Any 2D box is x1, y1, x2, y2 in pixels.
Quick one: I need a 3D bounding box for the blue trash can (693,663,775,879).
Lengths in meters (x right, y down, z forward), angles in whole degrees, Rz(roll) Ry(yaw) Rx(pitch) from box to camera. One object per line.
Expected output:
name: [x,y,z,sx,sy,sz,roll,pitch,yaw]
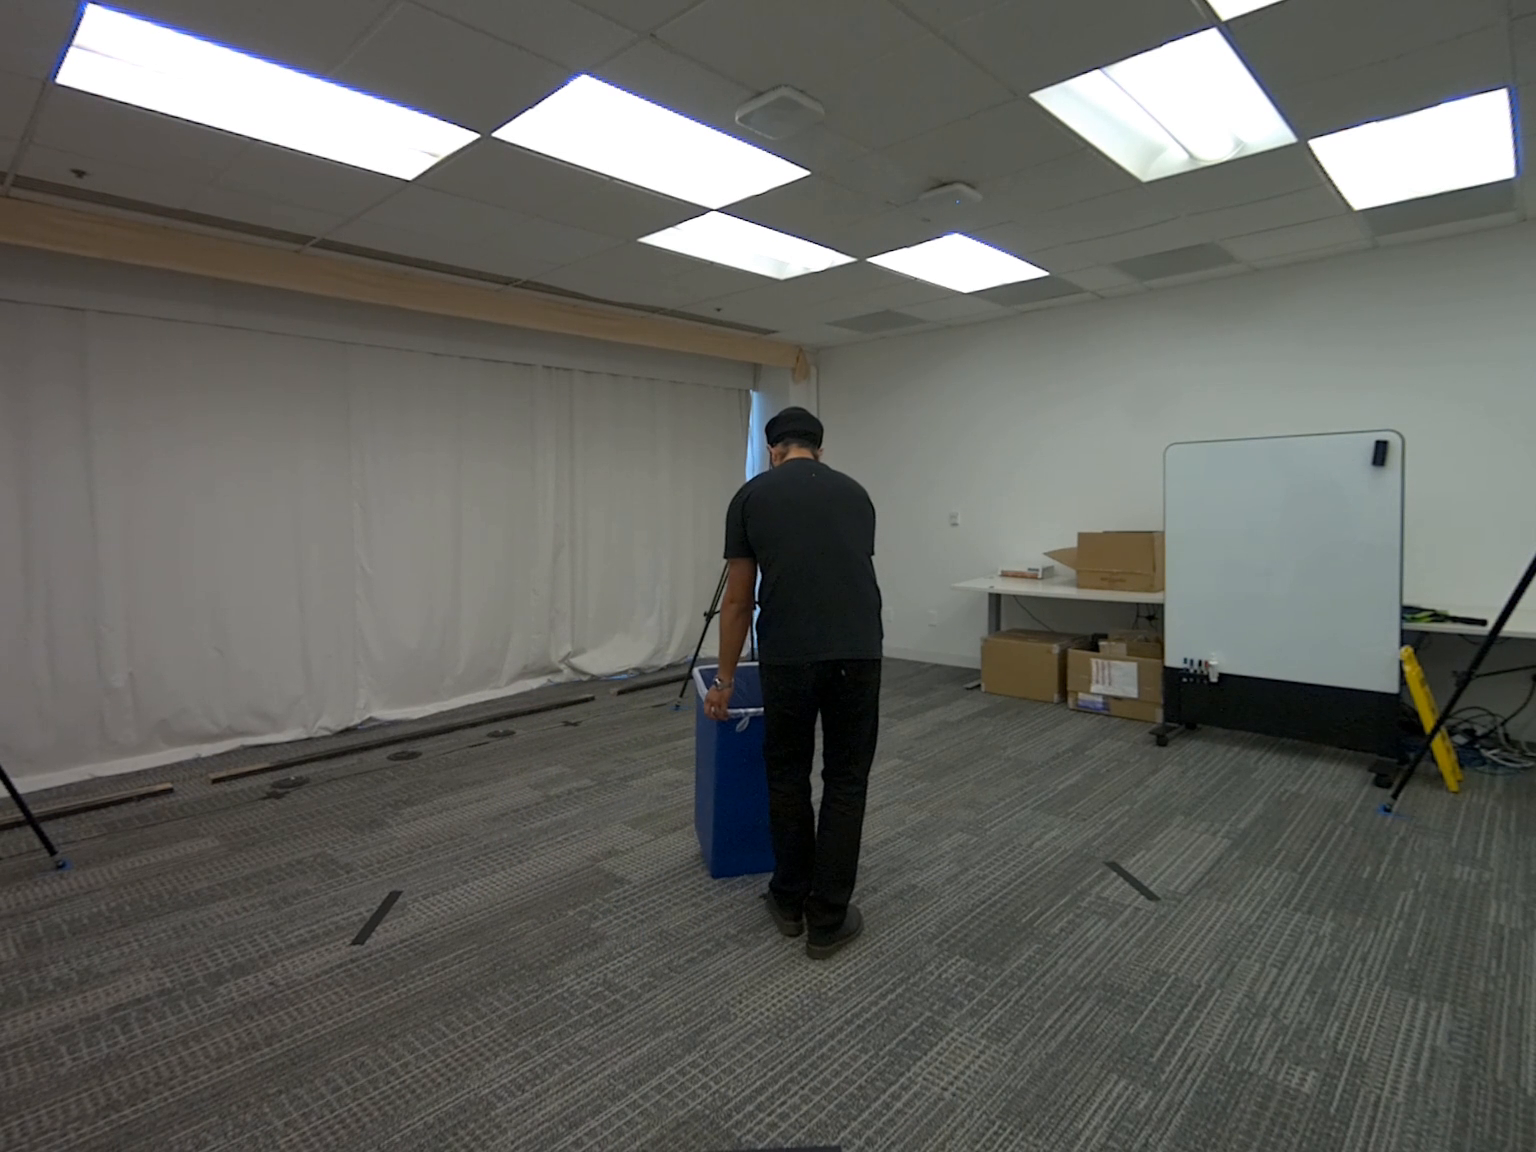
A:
blue trash can: [-0.082,0.737,3.179,0.372,0.706,0.384,-2,19,-16]
